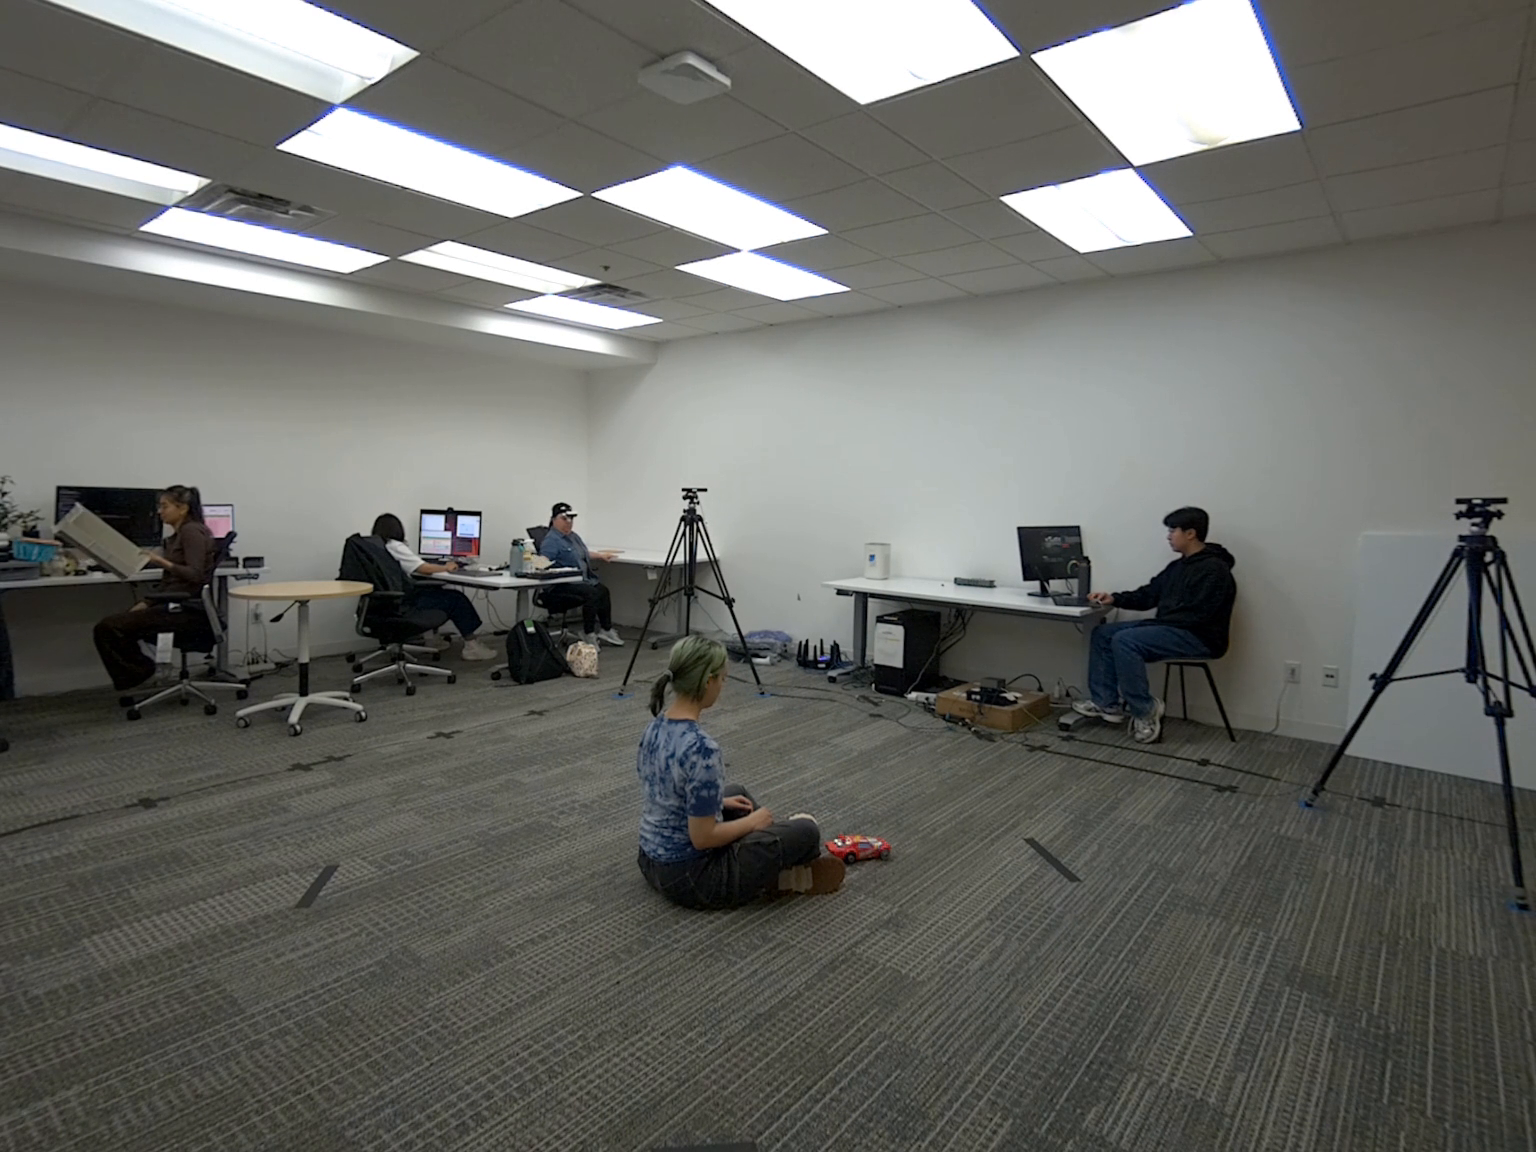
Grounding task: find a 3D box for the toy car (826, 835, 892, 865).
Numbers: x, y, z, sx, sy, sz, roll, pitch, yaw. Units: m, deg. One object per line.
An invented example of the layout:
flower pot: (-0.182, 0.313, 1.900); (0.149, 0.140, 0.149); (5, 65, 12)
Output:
toy car: (0.329, 1.038, 3.235); (0.249, 0.083, 0.133); (11, 2, -18)
